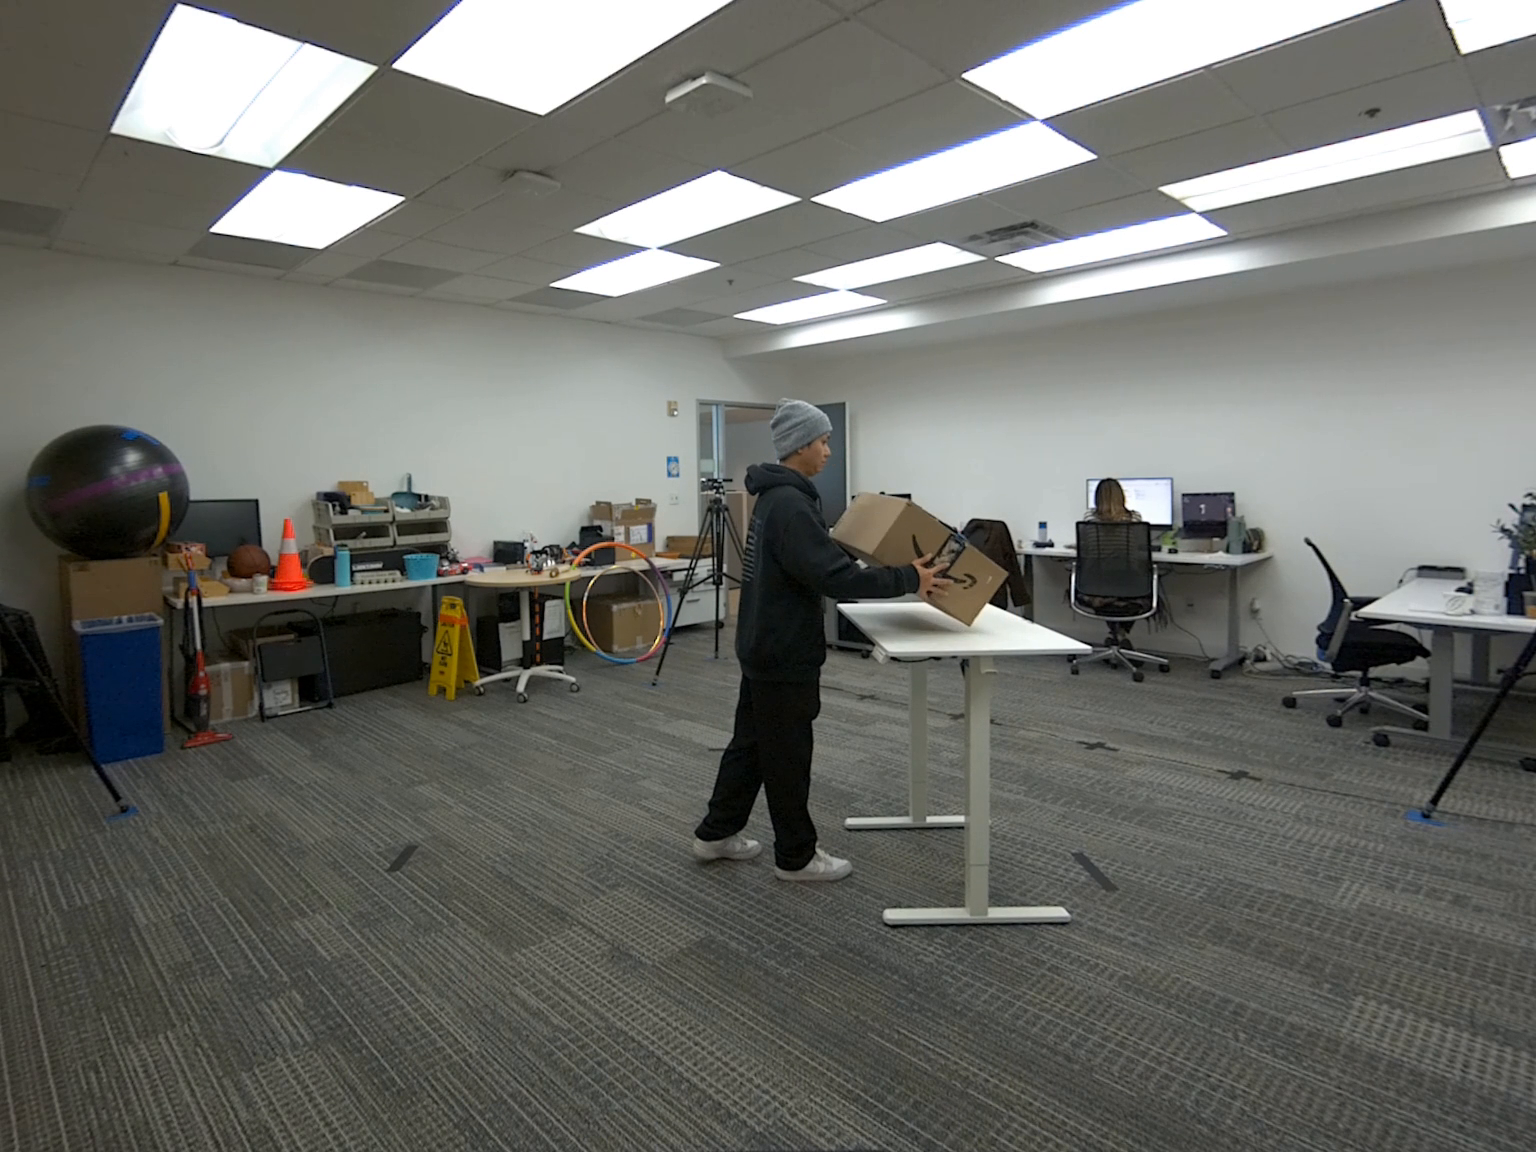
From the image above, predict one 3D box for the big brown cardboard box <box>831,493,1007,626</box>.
[{"bbox_3d":[0.501,-0.079,2.990,0.412,0.233,0.597,35,1,-12],"label":"big brown cardboard box"}]
